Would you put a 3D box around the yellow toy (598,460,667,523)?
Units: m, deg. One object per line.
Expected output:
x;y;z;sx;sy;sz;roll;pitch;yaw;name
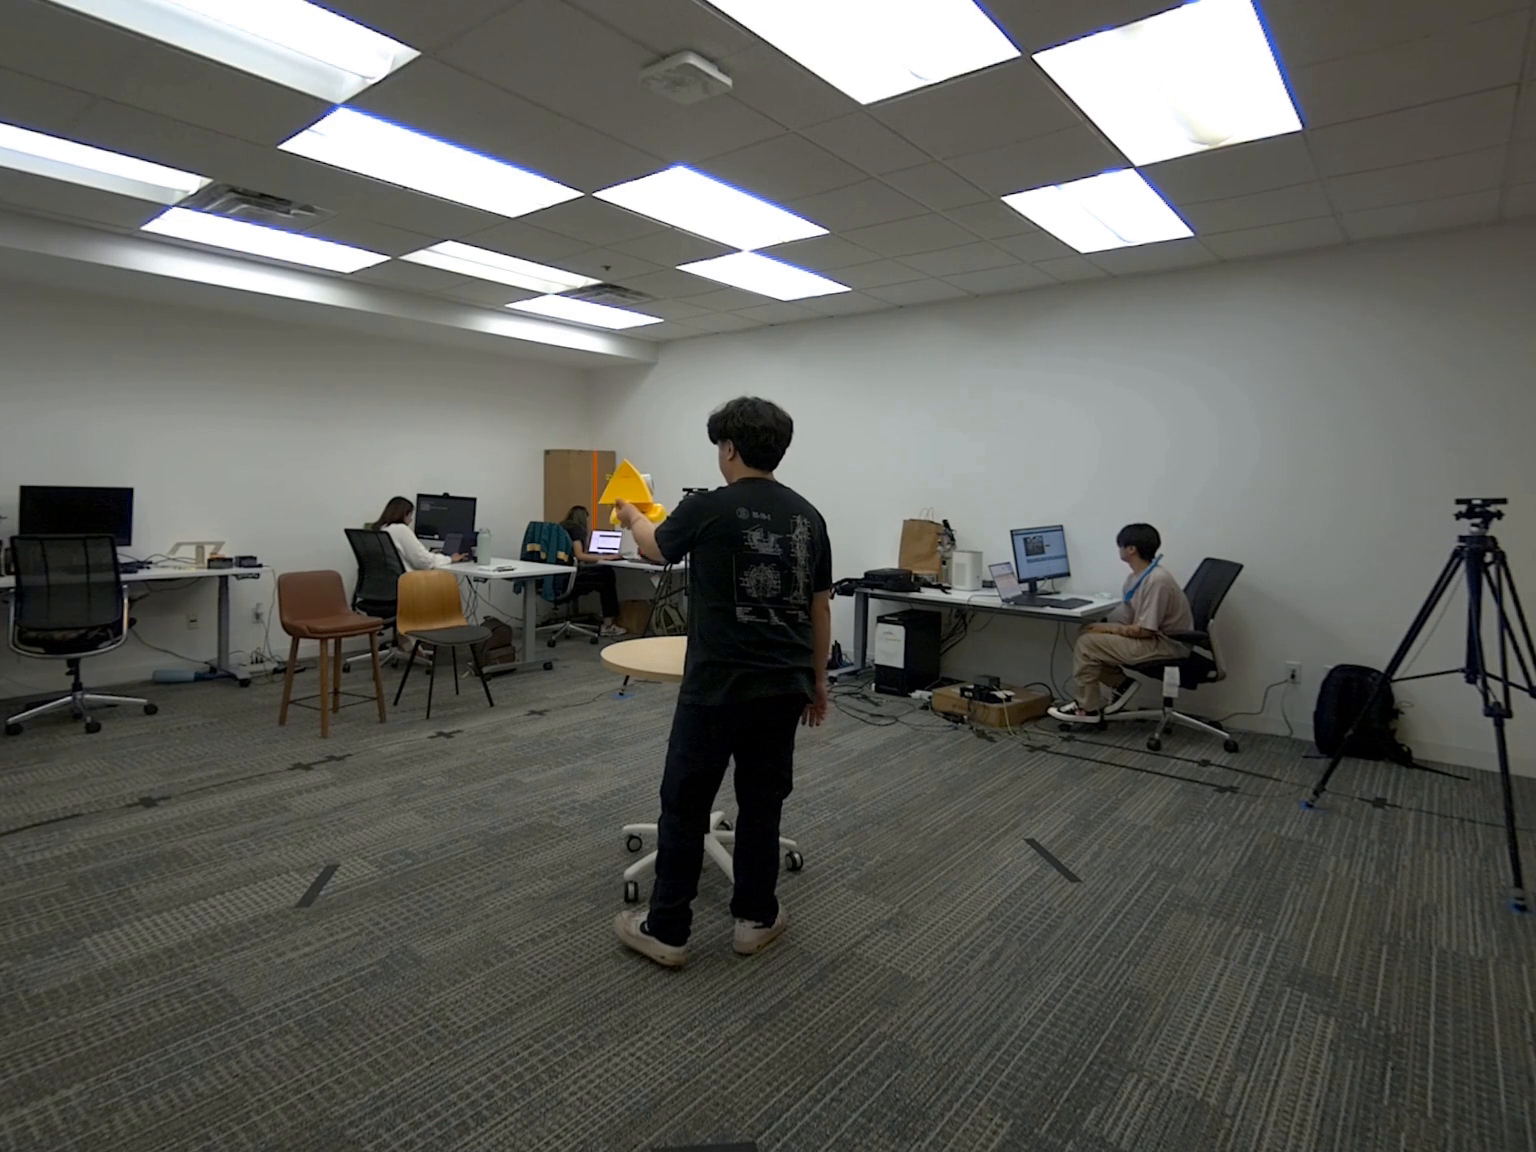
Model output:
-0.490;-0.312;3.032;0.209;0.228;0.191;-1;11;21;yellow toy
